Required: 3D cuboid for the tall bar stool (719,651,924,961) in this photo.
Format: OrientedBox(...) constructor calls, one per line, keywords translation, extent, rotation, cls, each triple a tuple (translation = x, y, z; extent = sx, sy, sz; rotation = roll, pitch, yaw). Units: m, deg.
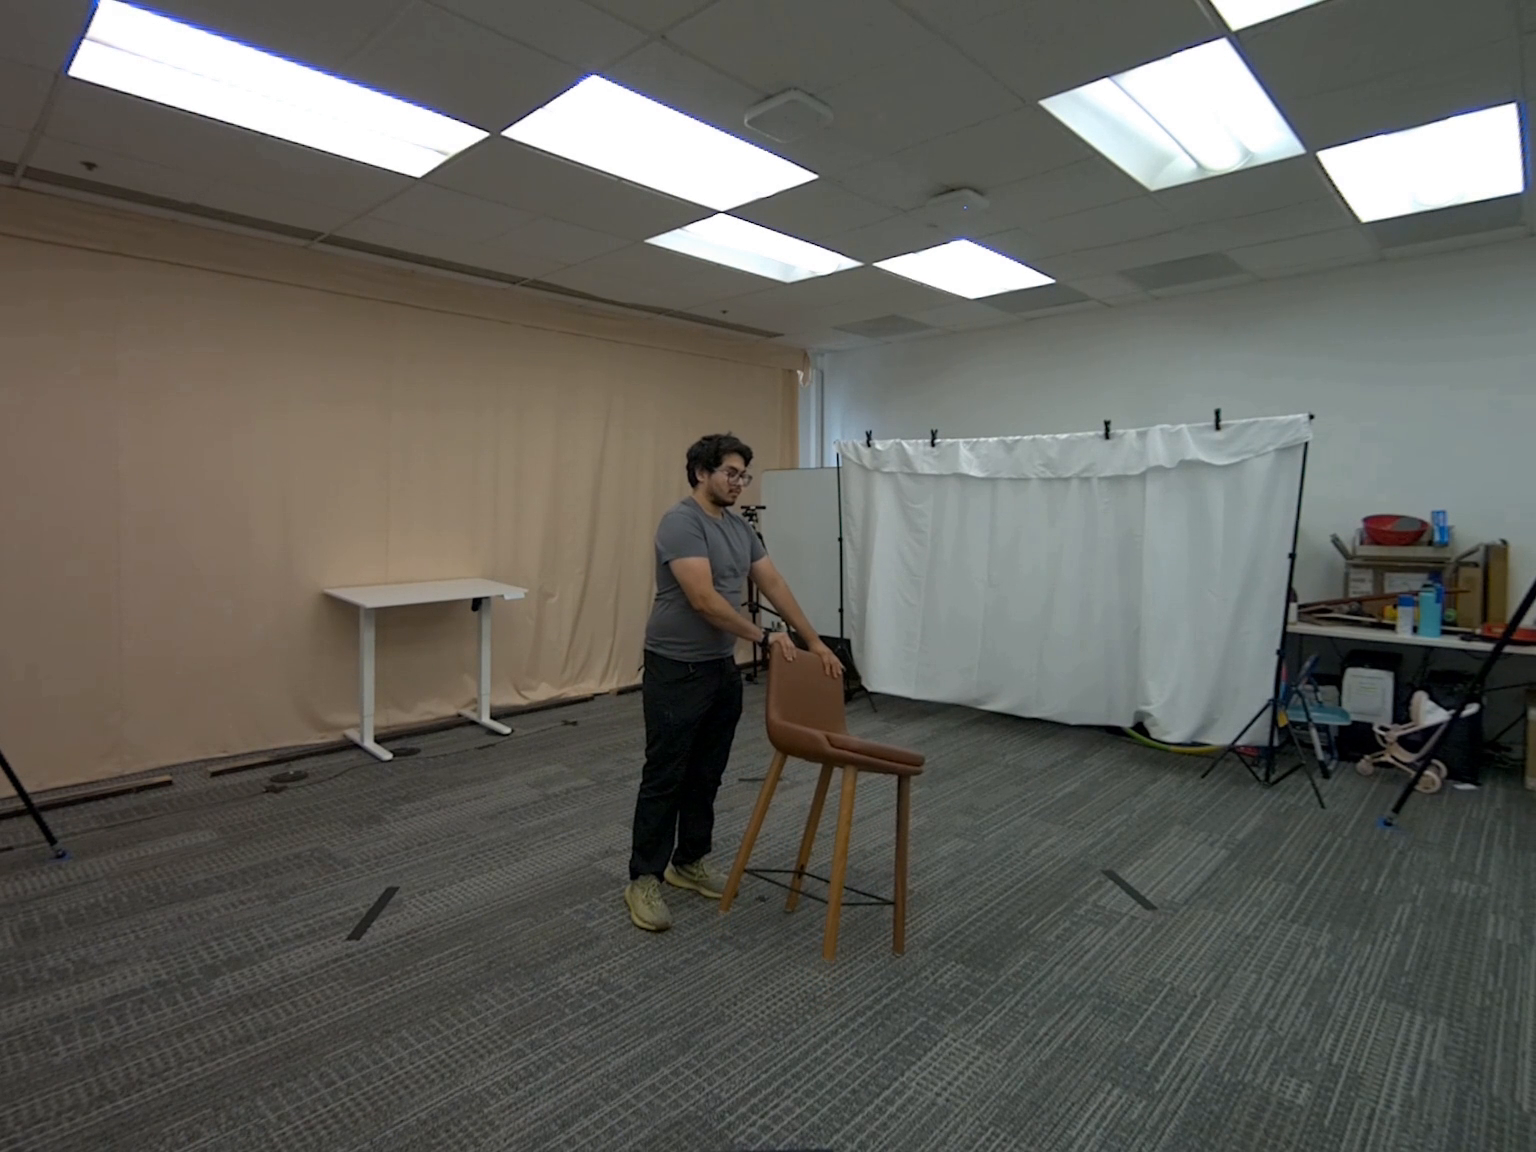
OrientedBox(translation=(0.211, 0.694, 2.714), extent=(0.482, 0.894, 0.440), rotation=(-1, -16, 43), cls="tall bar stool")
